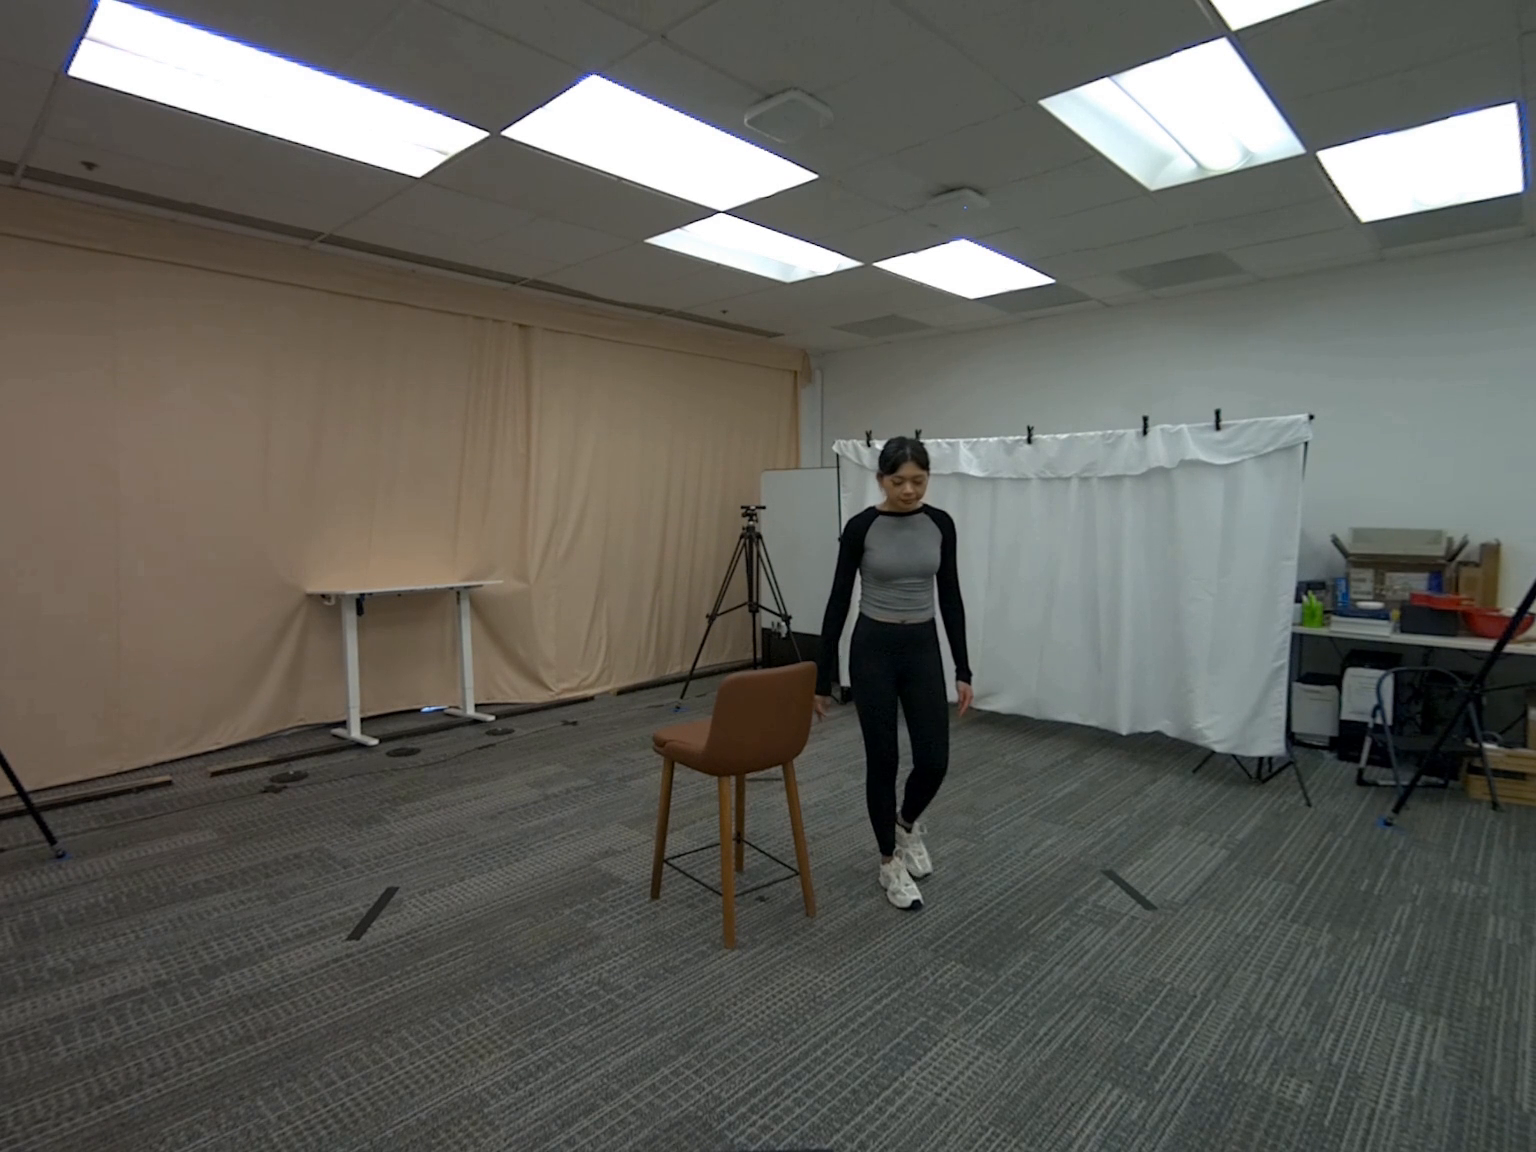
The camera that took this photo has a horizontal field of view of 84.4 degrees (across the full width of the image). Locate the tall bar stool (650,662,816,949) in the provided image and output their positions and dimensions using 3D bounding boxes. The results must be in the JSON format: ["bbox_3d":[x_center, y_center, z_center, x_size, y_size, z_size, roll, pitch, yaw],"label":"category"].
[{"bbox_3d":[-0.118,0.717,2.901,0.443,0.887,0.483,-3,6,-39],"label":"tall bar stool"}]
